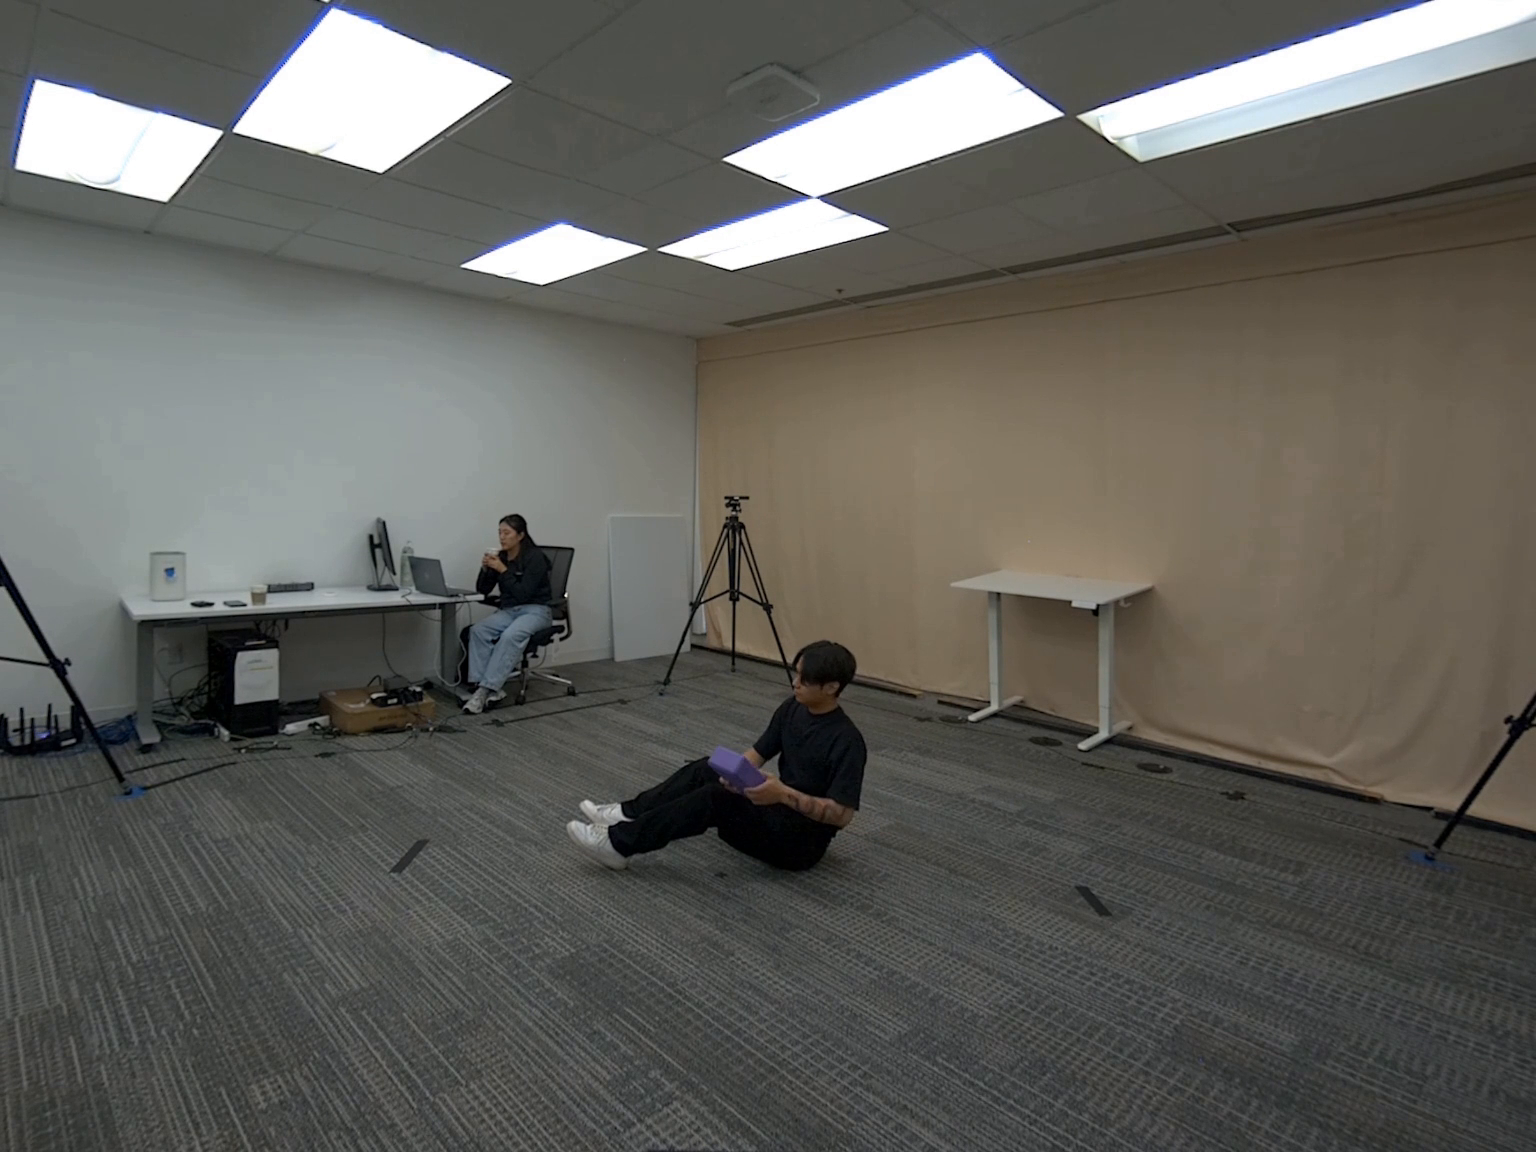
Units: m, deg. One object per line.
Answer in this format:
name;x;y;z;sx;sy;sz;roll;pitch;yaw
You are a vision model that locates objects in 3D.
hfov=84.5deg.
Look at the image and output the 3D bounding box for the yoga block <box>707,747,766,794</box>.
yoga block;-0.094;0.700;2.961;0.153;0.076;0.223;8;-35;48
